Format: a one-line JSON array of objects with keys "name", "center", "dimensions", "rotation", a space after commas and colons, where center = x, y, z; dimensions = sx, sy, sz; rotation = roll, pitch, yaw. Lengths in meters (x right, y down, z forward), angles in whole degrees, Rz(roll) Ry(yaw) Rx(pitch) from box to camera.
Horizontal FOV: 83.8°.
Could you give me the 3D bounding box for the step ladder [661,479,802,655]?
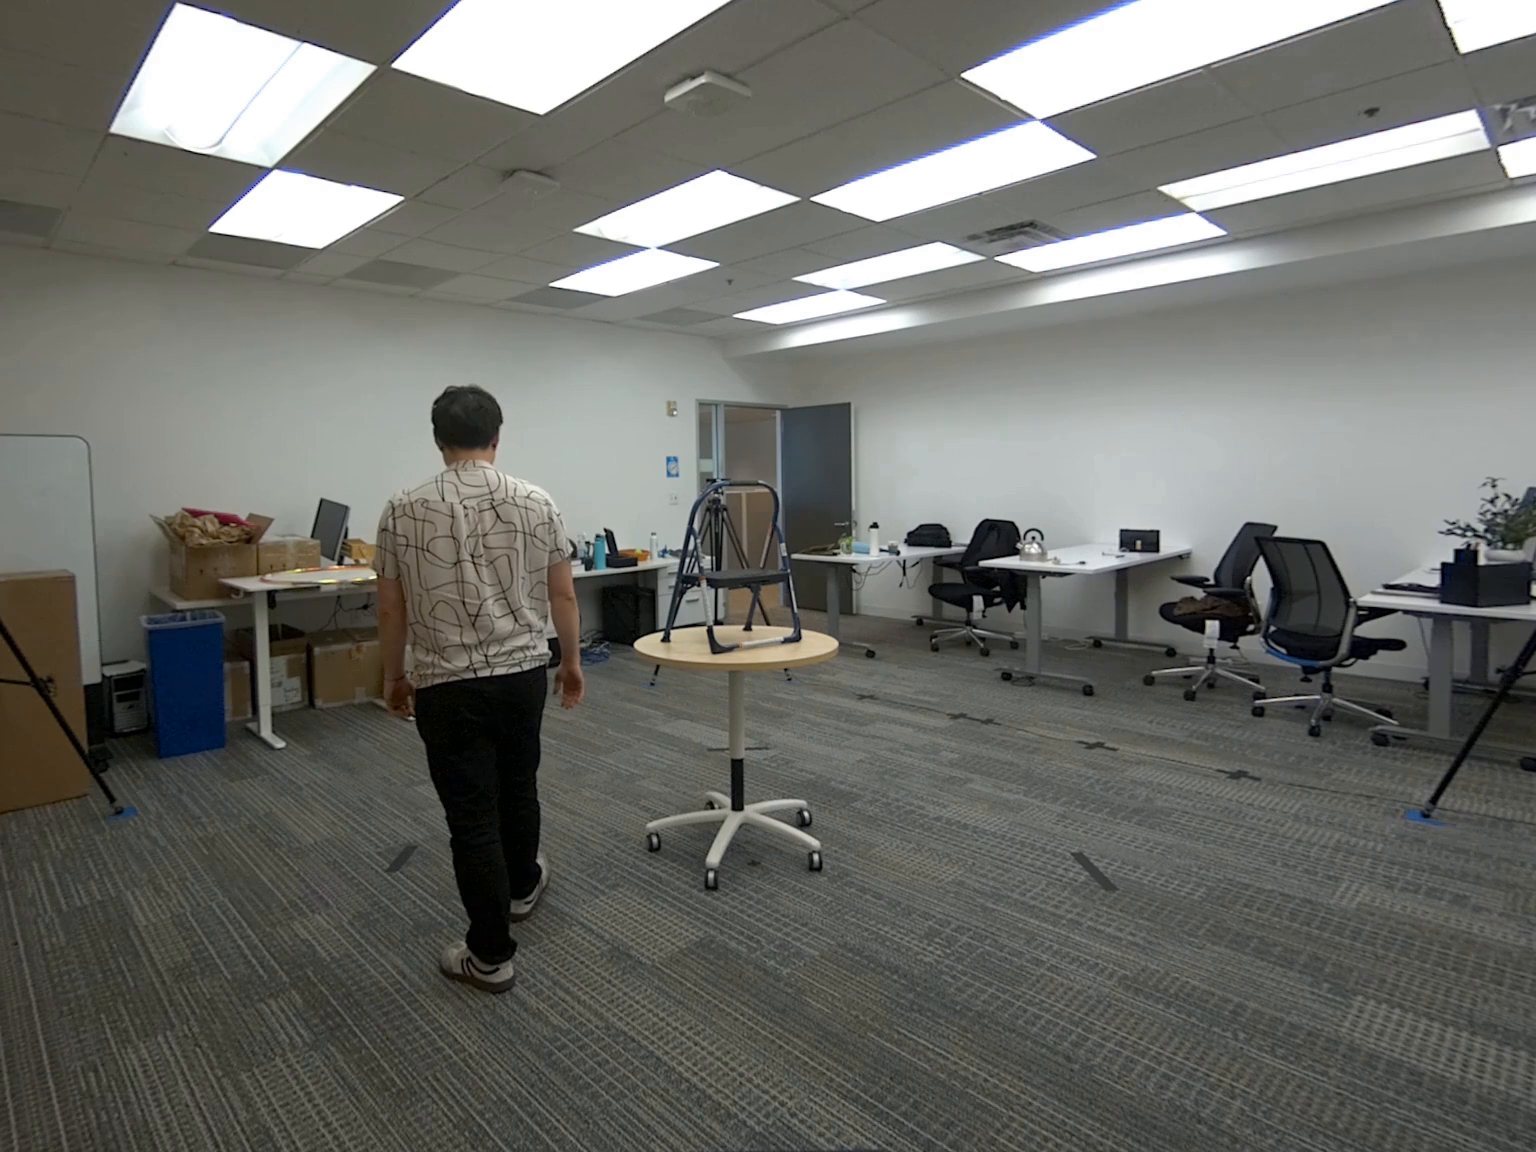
[{"name": "step ladder", "center": [-0.143, -0.054, 3.216], "dimensions": [0.419, 0.604, 0.360], "rotation": [-4, 5, -39]}]
